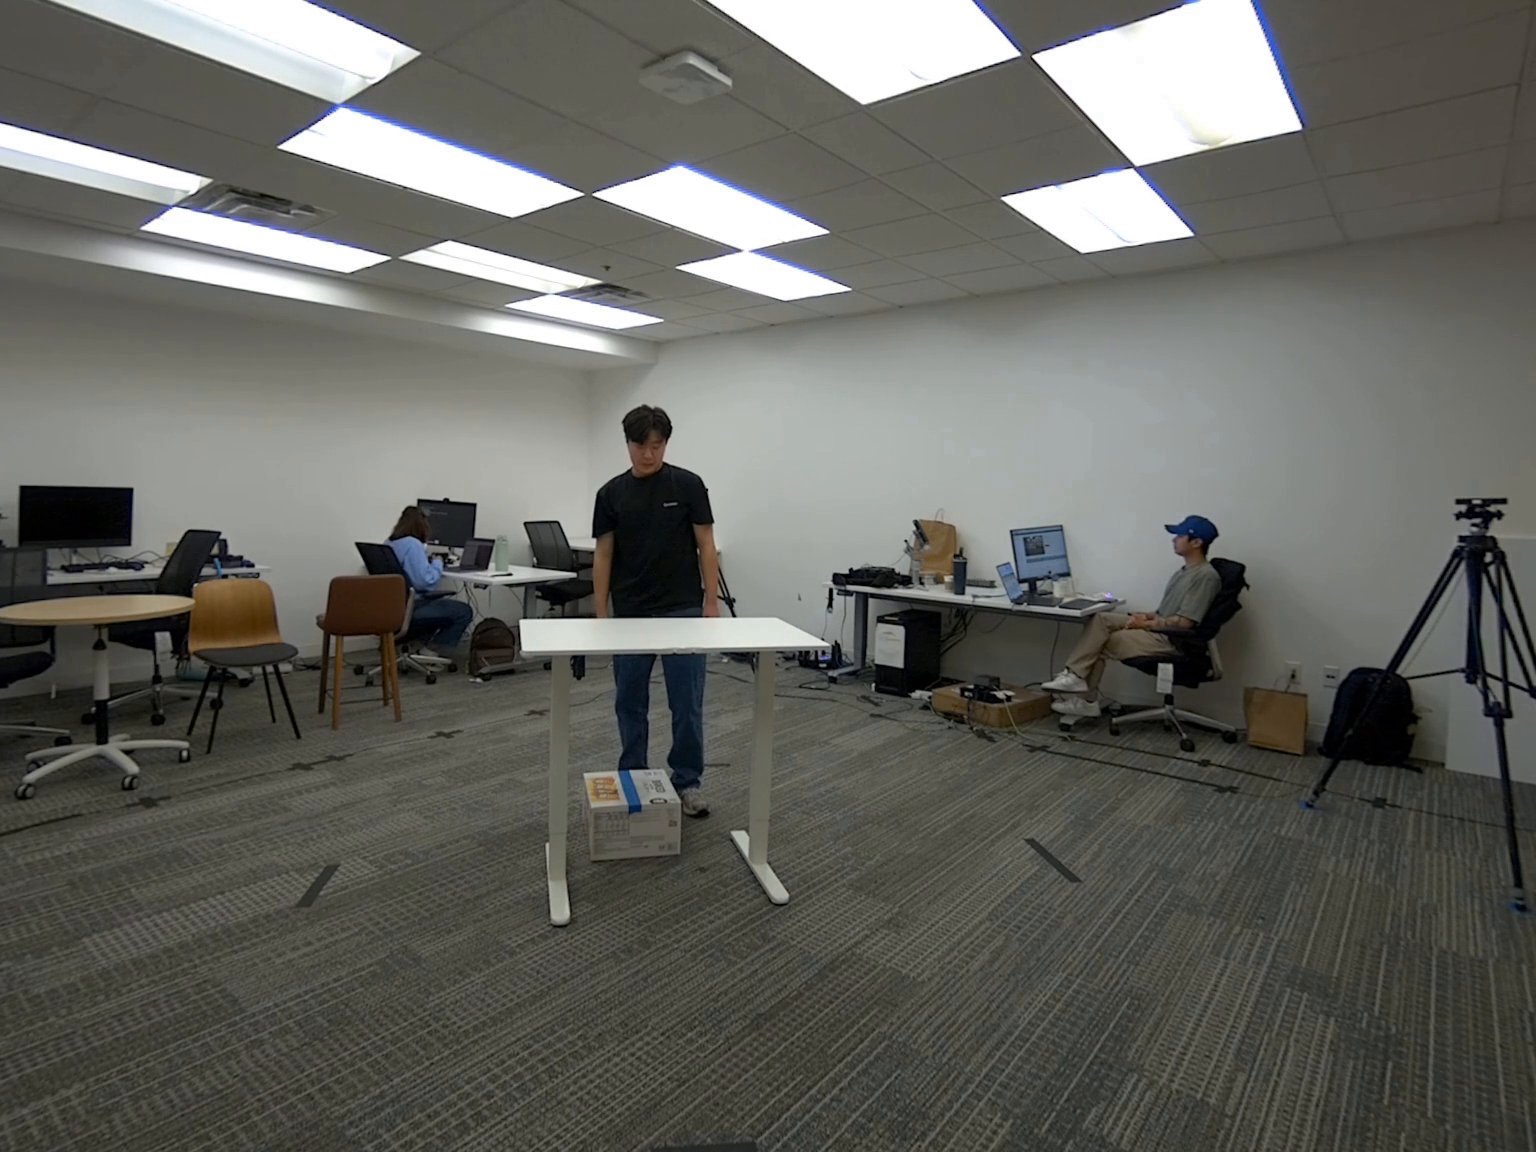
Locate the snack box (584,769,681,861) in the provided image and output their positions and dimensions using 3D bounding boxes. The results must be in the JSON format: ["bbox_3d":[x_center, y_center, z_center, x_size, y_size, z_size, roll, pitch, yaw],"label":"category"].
[{"bbox_3d":[-0.562,0.937,3.379,0.335,0.205,0.413,0,5,-15],"label":"snack box"}]
